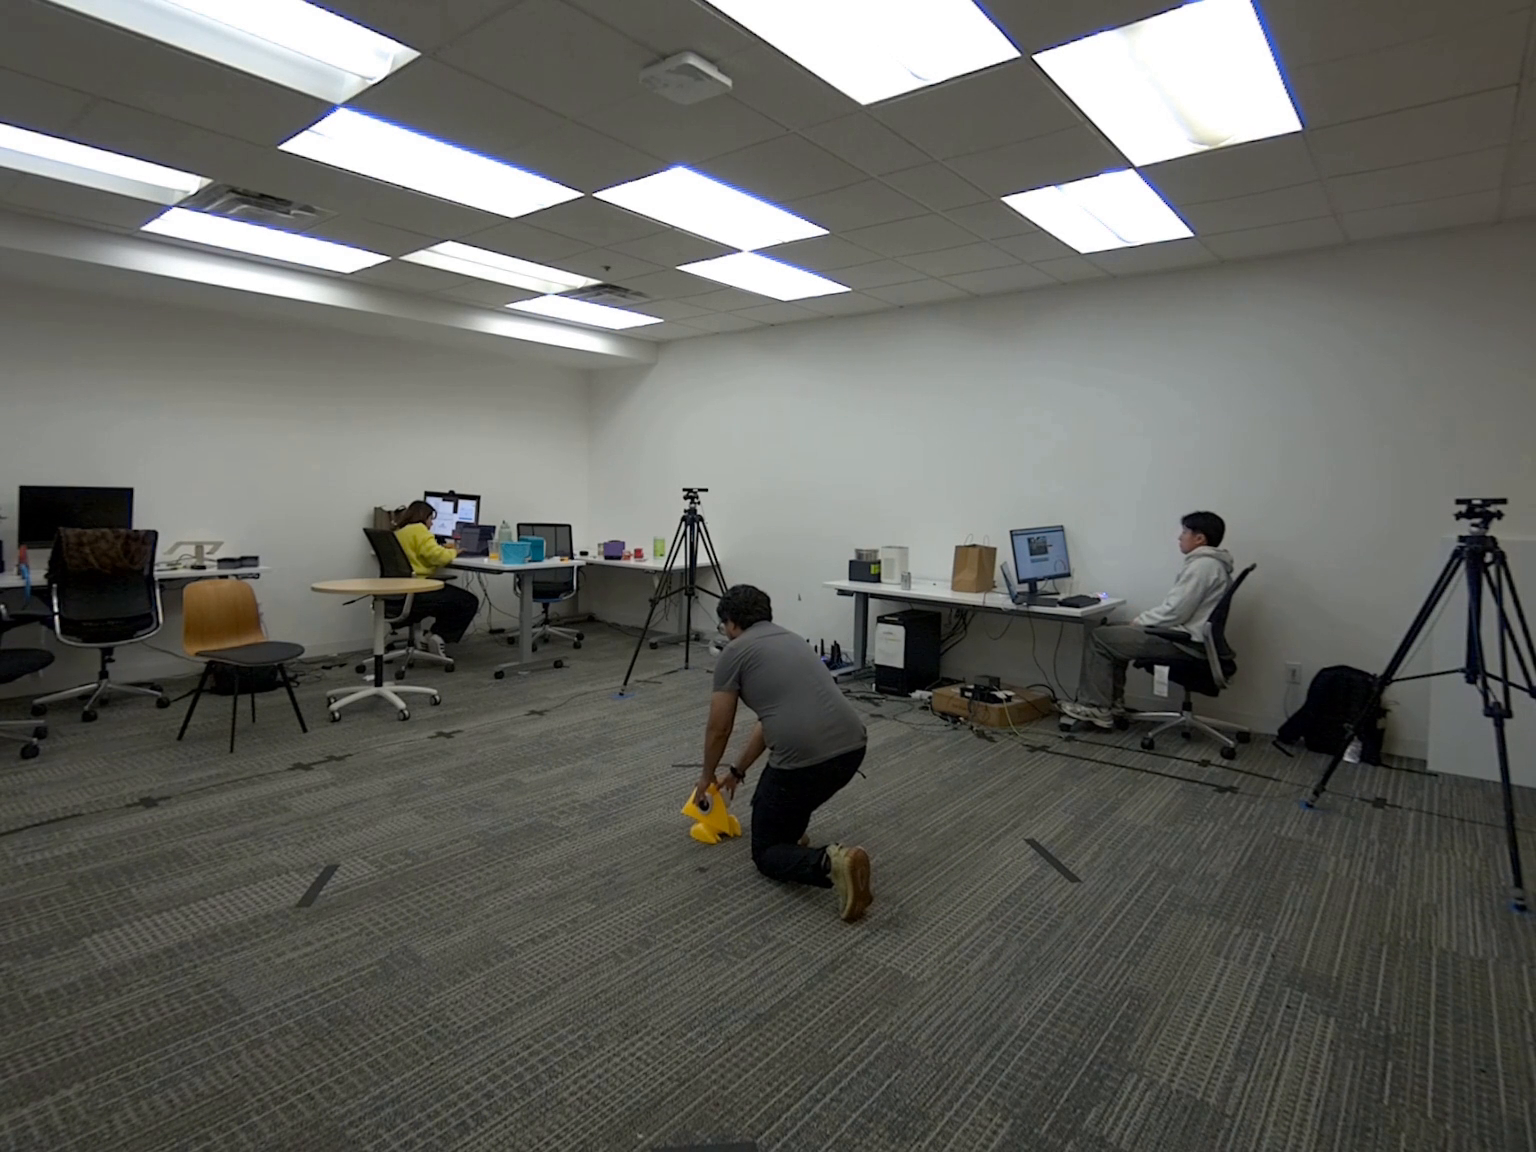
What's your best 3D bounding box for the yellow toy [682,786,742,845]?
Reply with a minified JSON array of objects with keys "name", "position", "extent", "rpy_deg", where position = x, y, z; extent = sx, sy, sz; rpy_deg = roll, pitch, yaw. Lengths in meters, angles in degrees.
[{"name":"yellow toy","position":[-0.226,0.927,3.456],"extent":[0.198,0.230,0.199],"rpy_deg":[-1,5,-41]}]
